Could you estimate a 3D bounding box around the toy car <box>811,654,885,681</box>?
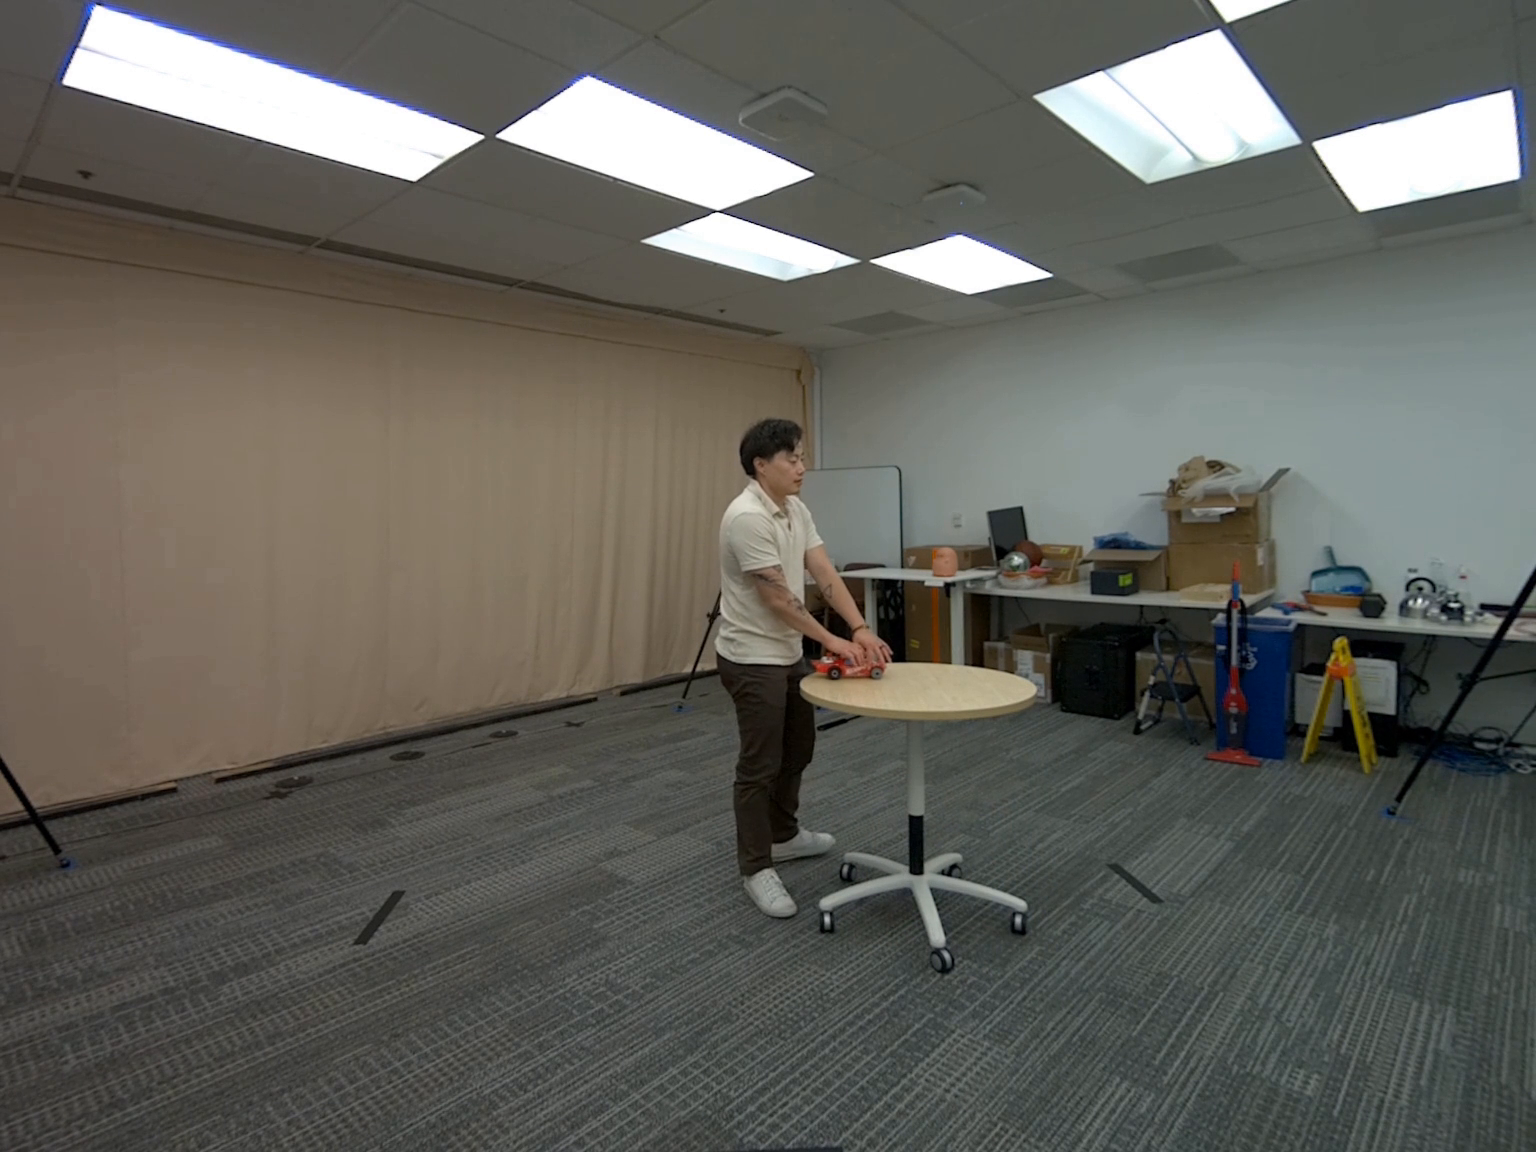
[{"bbox_3d":[0.282,0.325,2.941,0.254,0.083,0.130,12,2,-1],"label":"toy car"}]
